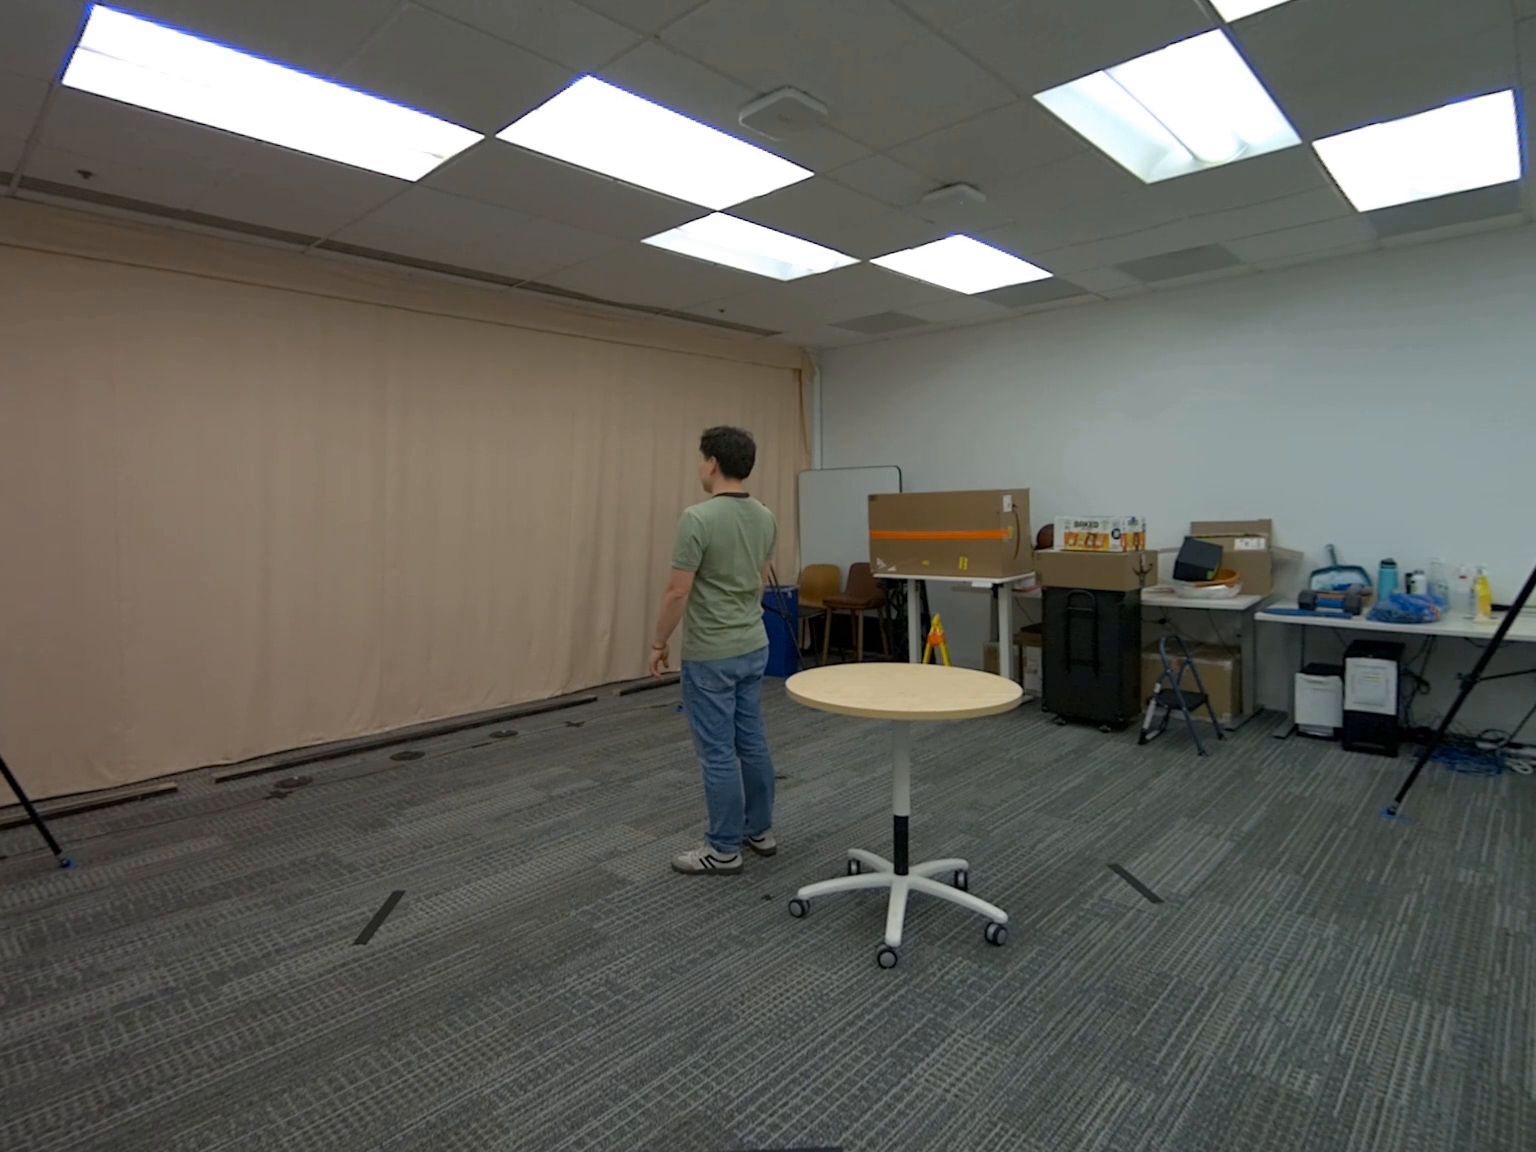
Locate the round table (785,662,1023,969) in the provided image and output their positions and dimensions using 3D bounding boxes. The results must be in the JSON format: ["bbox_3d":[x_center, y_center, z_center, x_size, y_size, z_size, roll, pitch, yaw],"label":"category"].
[{"bbox_3d":[0.448,0.756,2.832,0.763,0.792,0.767,0,4,-2],"label":"round table"}]
